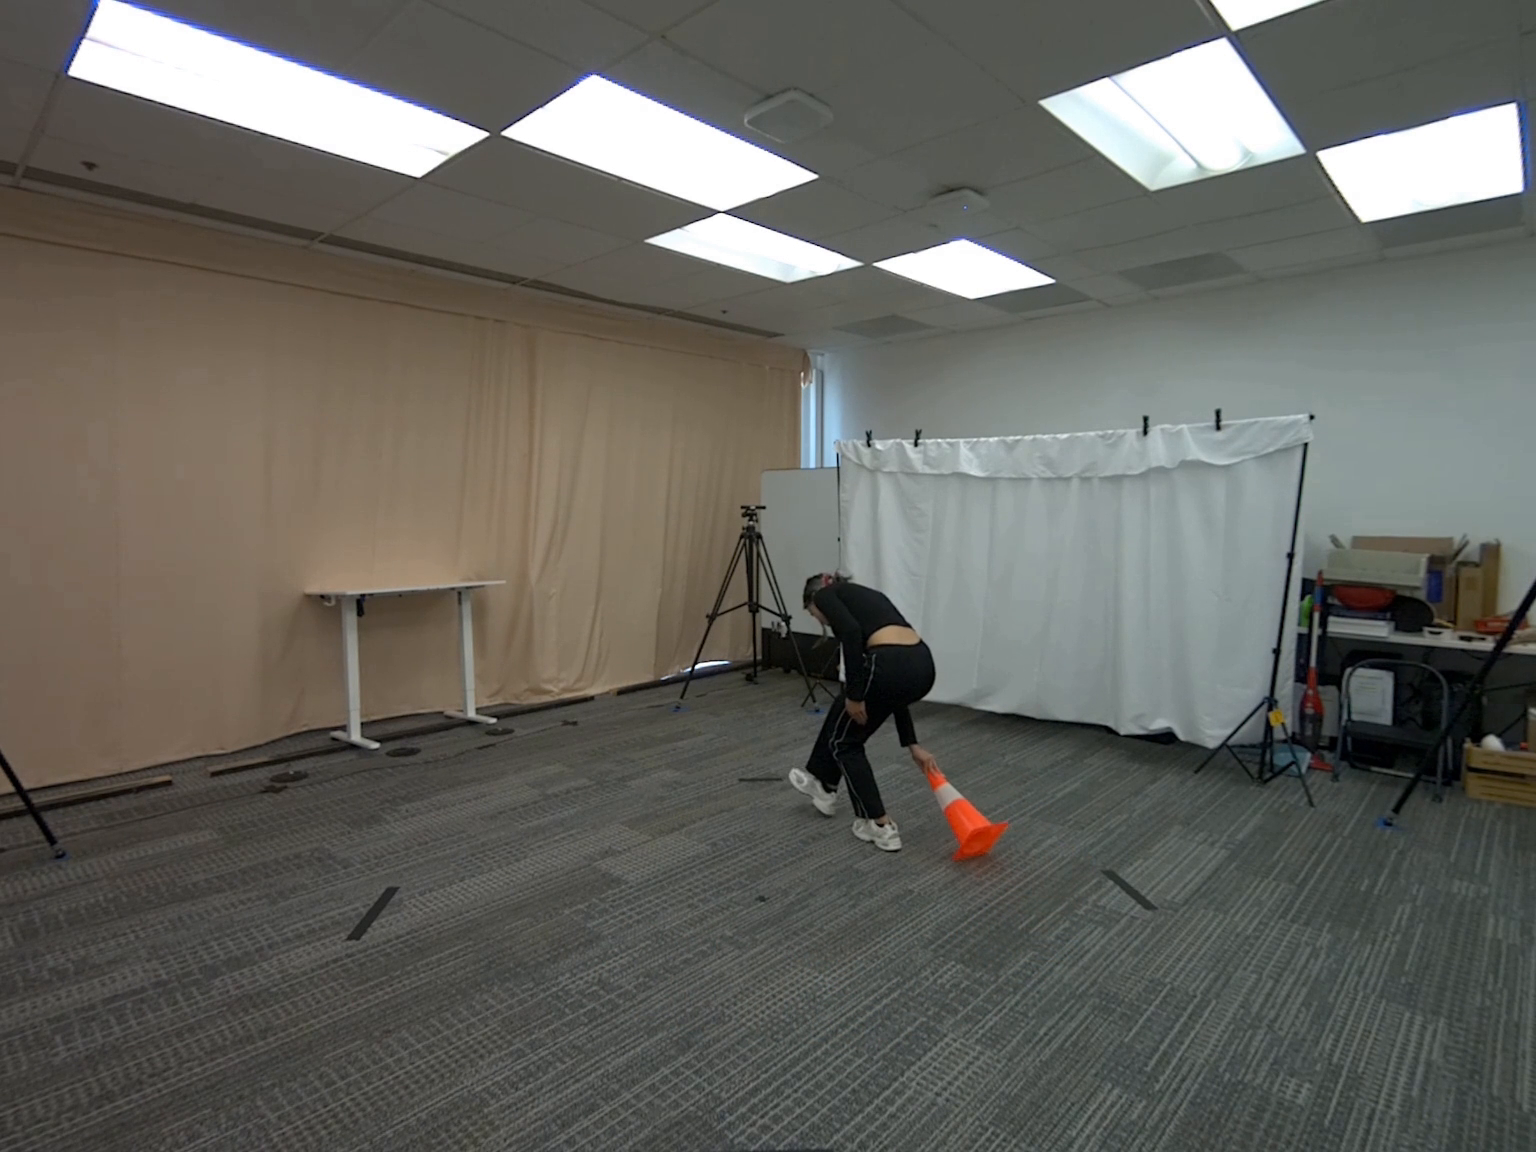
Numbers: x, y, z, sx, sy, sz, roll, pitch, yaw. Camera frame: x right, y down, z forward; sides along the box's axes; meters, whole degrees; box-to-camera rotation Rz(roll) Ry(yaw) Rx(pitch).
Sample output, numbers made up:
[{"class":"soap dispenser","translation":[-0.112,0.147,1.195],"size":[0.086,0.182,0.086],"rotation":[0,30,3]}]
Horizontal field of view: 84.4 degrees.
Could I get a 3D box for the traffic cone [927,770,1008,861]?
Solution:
[{"class":"traffic cone","translation":[0.760,0.918,3.417],"size":[0.201,0.201,0.395],"rotation":[-5,40,-19]}]
